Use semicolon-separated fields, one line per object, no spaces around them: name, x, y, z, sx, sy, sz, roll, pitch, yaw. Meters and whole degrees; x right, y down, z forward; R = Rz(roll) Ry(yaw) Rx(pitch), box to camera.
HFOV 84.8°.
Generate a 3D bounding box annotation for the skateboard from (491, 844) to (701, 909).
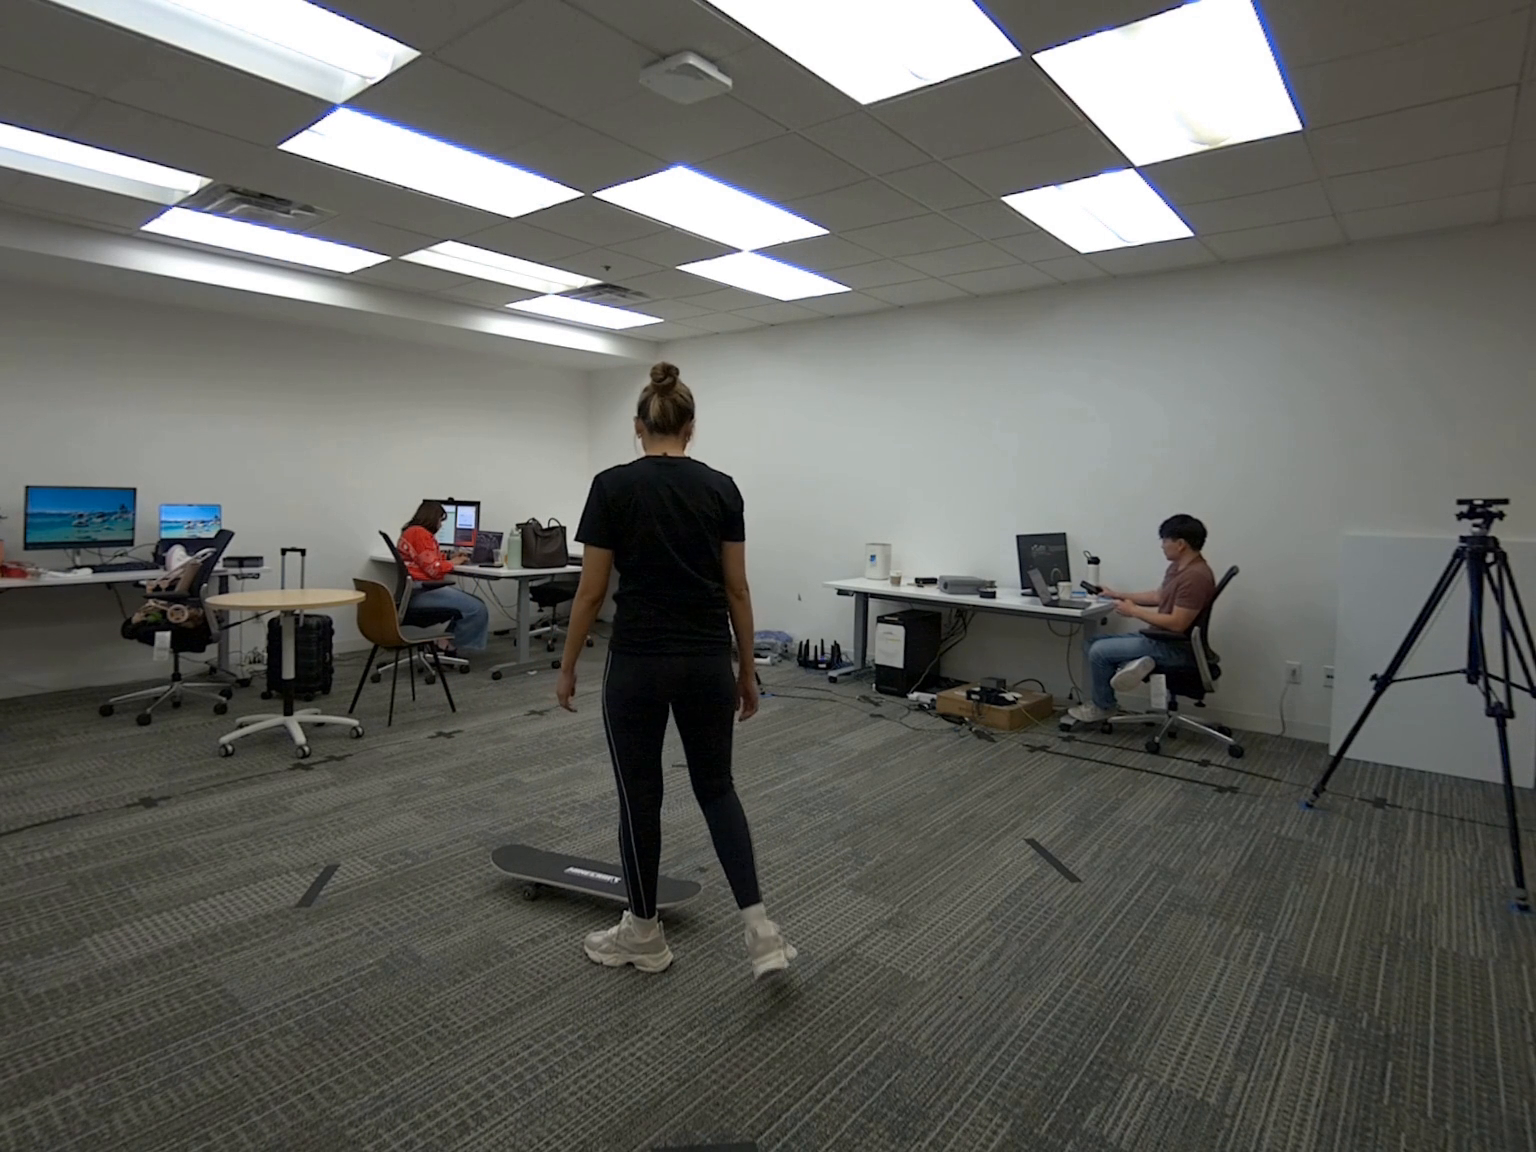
skateboard;-0.602;1.031;2.847;0.803;0.110;0.190;3;6;22
